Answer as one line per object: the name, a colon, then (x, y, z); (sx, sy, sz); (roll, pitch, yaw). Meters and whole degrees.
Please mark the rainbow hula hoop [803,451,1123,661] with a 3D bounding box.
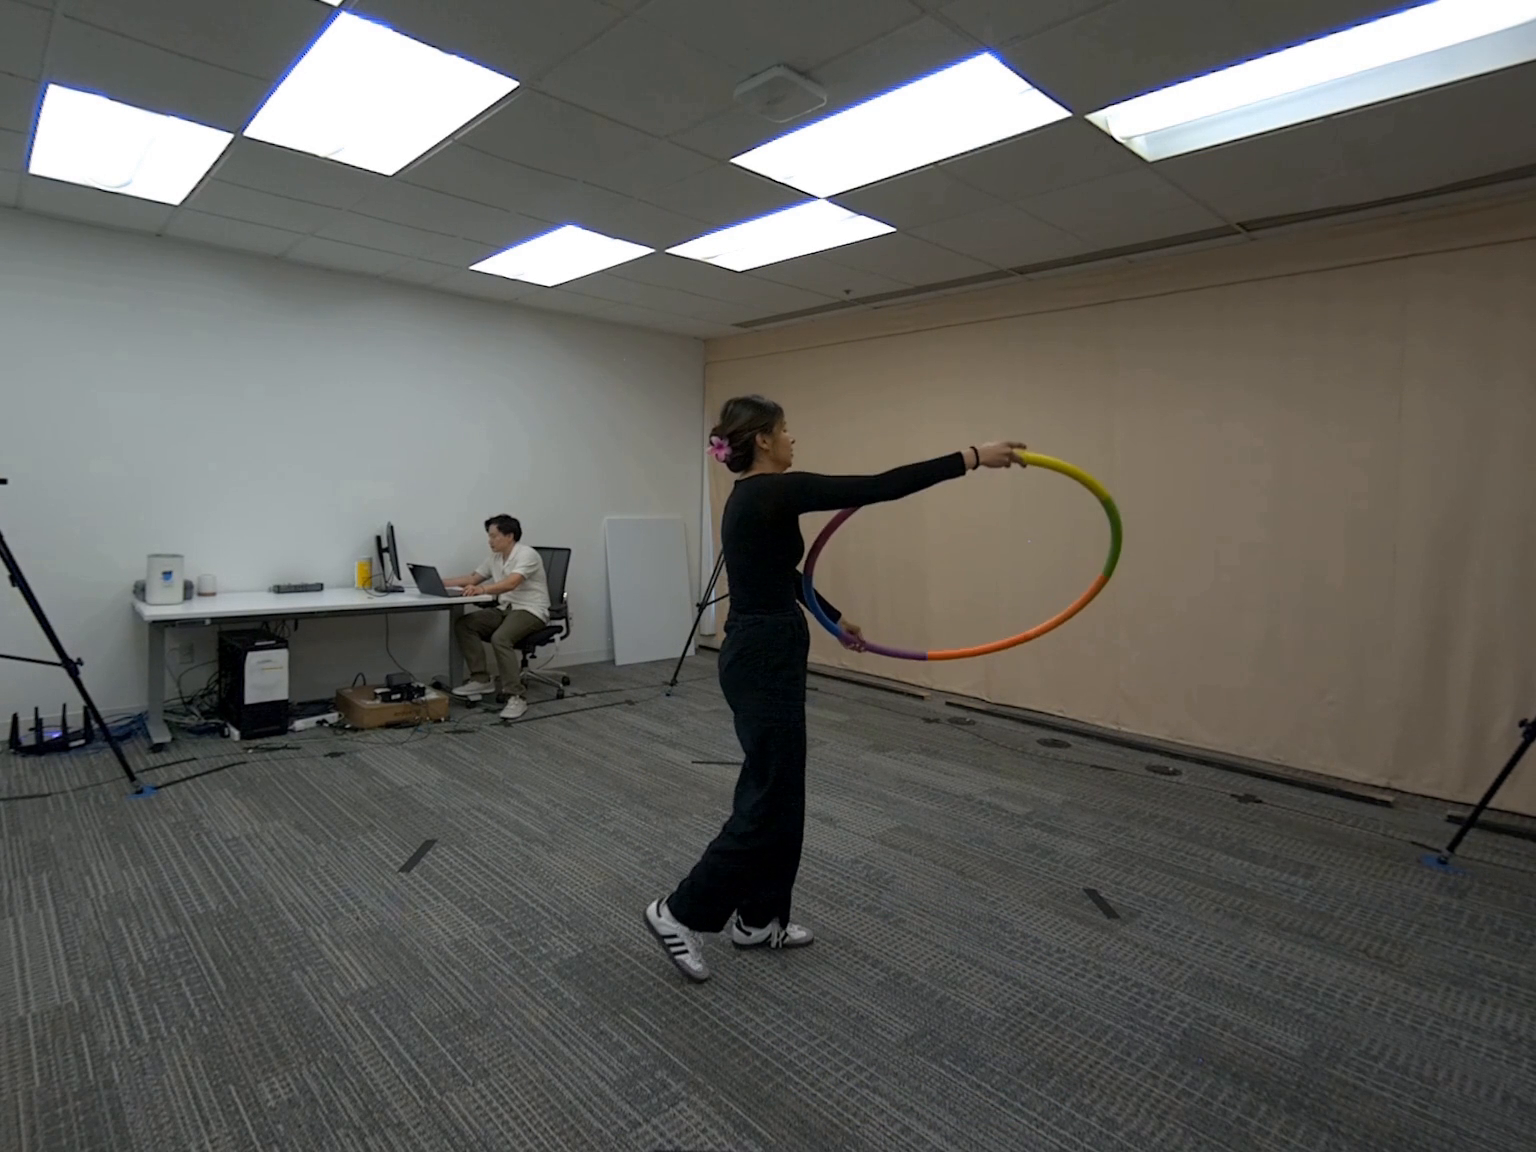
rainbow hula hoop: (0.587, -0.019, 2.649); (0.982, 0.053, 0.966); (2, -42, -5)
